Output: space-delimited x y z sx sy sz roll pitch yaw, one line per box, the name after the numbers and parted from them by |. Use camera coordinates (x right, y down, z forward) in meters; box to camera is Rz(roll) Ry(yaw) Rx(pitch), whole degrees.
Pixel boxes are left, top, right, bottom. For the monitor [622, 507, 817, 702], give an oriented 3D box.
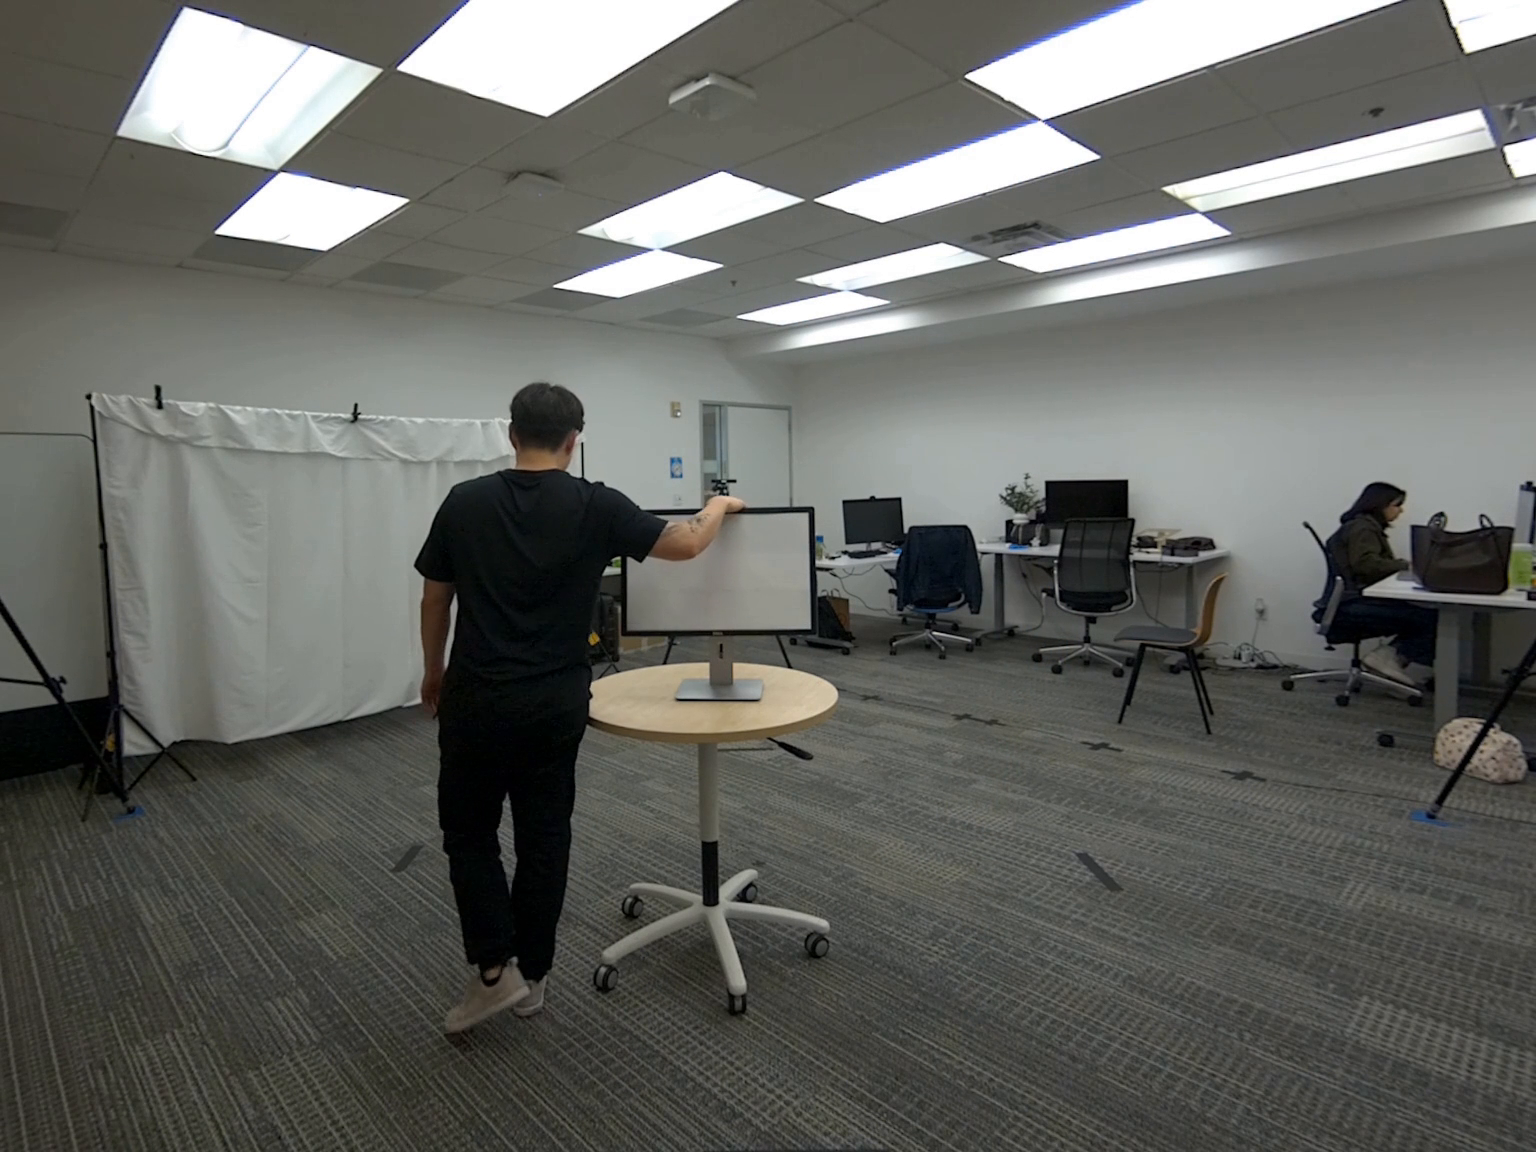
-0.138 0.078 2.485 0.540 0.519 0.188 -1 7 2 | monitor
